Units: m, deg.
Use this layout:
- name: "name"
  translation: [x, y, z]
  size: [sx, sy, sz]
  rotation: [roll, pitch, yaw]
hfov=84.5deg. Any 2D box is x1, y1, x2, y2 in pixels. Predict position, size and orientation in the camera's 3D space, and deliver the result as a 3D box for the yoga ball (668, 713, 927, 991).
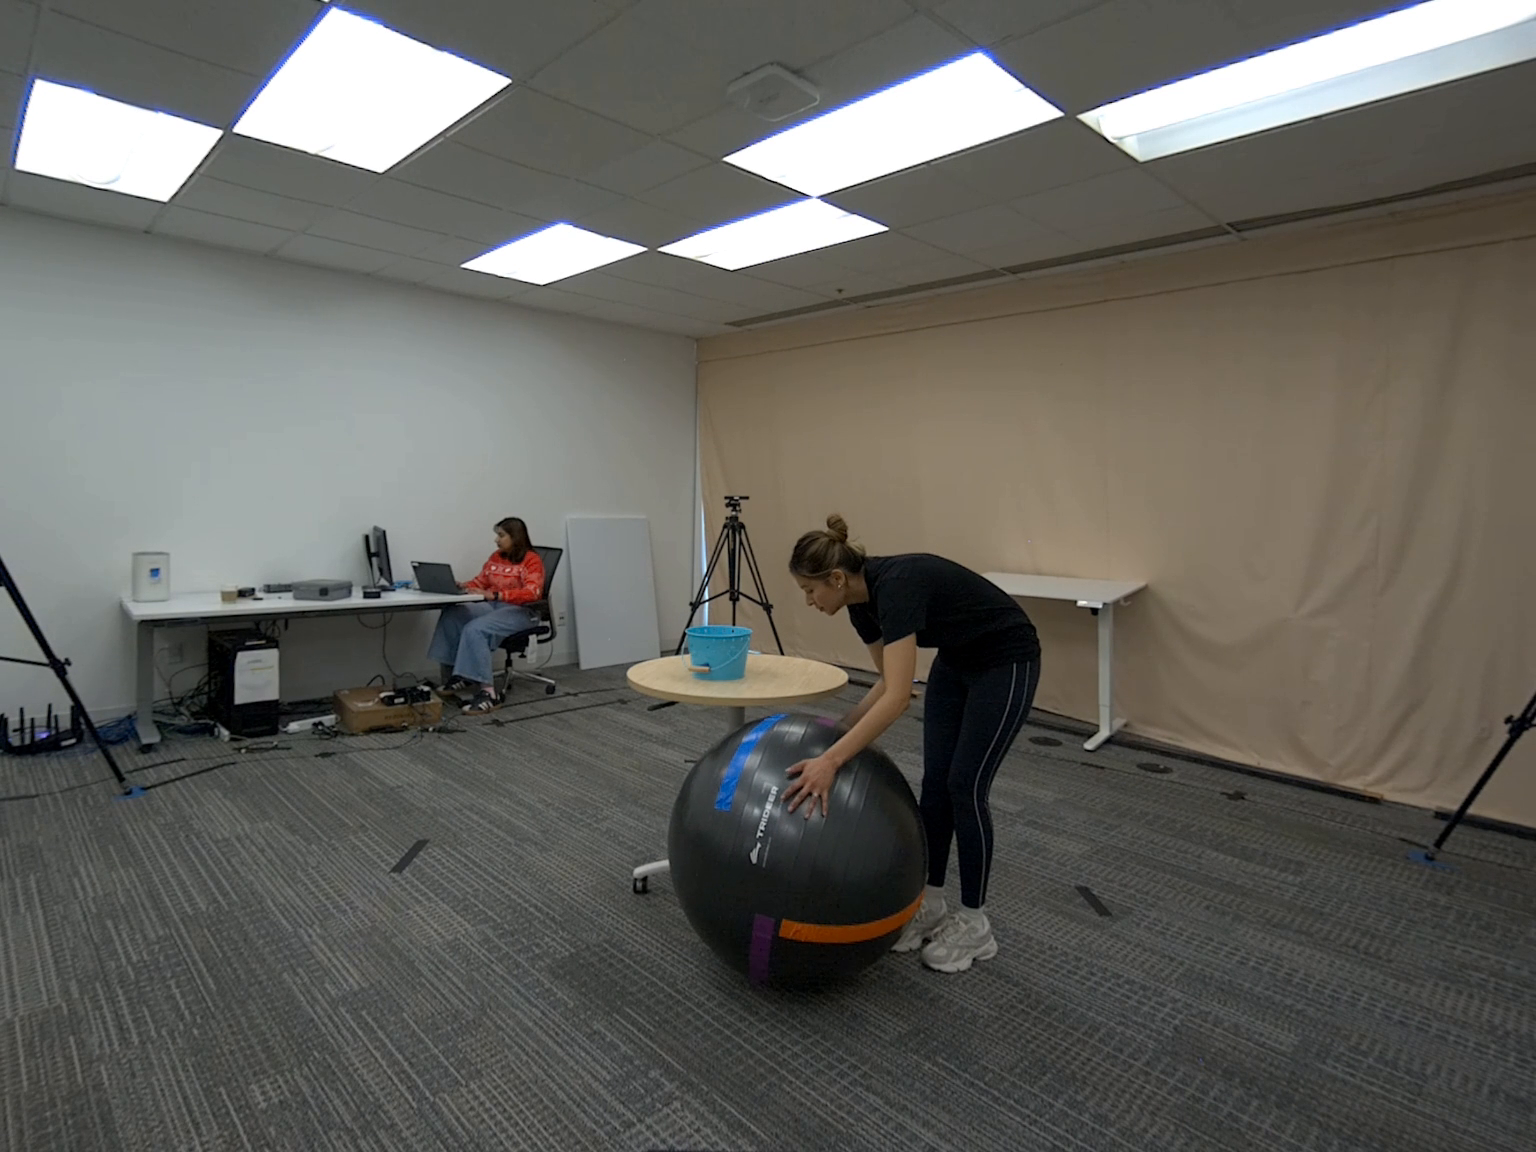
- name: "yoga ball"
  translation: [0.083, 0.805, 2.485]
  size: [0.757, 0.756, 0.761]
  rotation: [1, 4, -1]
